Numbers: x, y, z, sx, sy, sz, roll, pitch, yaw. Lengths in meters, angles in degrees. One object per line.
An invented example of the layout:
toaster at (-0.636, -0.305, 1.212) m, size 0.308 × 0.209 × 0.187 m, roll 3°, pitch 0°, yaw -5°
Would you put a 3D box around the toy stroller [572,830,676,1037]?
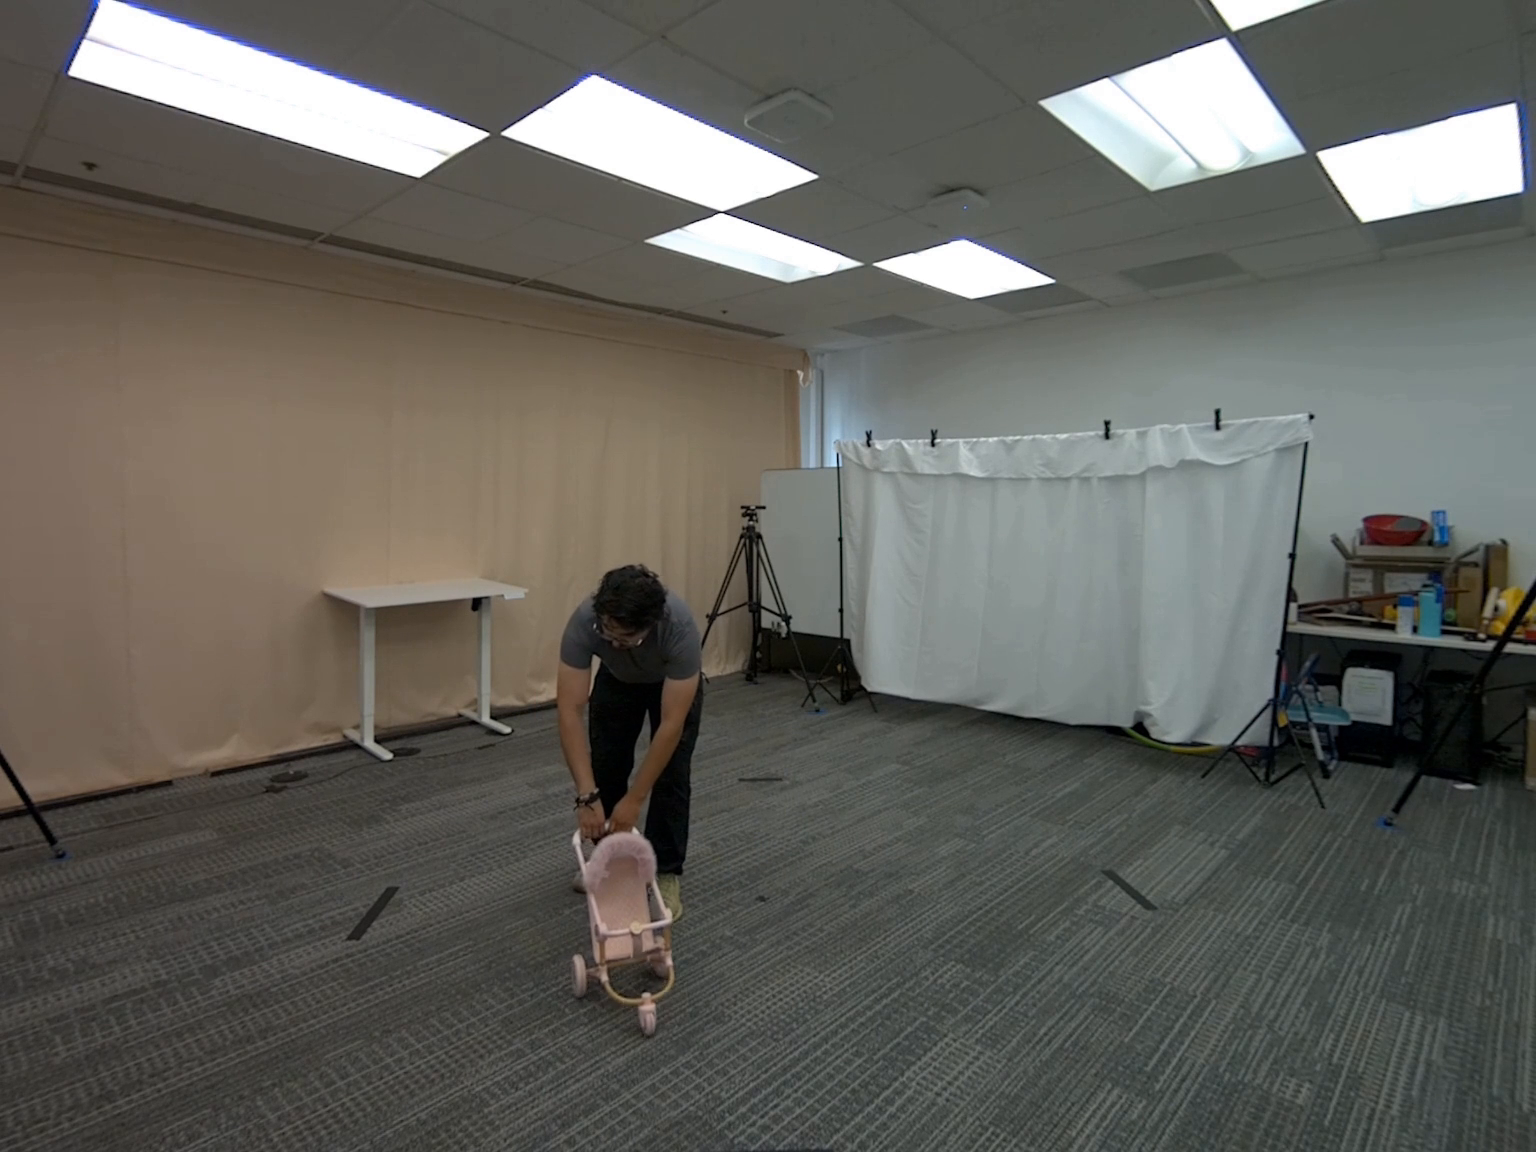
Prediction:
toy stroller at (-0.406, 0.969, 2.395) m, size 0.275 × 0.540 × 0.345 m, roll -2°, pitch -14°, yaw -22°
